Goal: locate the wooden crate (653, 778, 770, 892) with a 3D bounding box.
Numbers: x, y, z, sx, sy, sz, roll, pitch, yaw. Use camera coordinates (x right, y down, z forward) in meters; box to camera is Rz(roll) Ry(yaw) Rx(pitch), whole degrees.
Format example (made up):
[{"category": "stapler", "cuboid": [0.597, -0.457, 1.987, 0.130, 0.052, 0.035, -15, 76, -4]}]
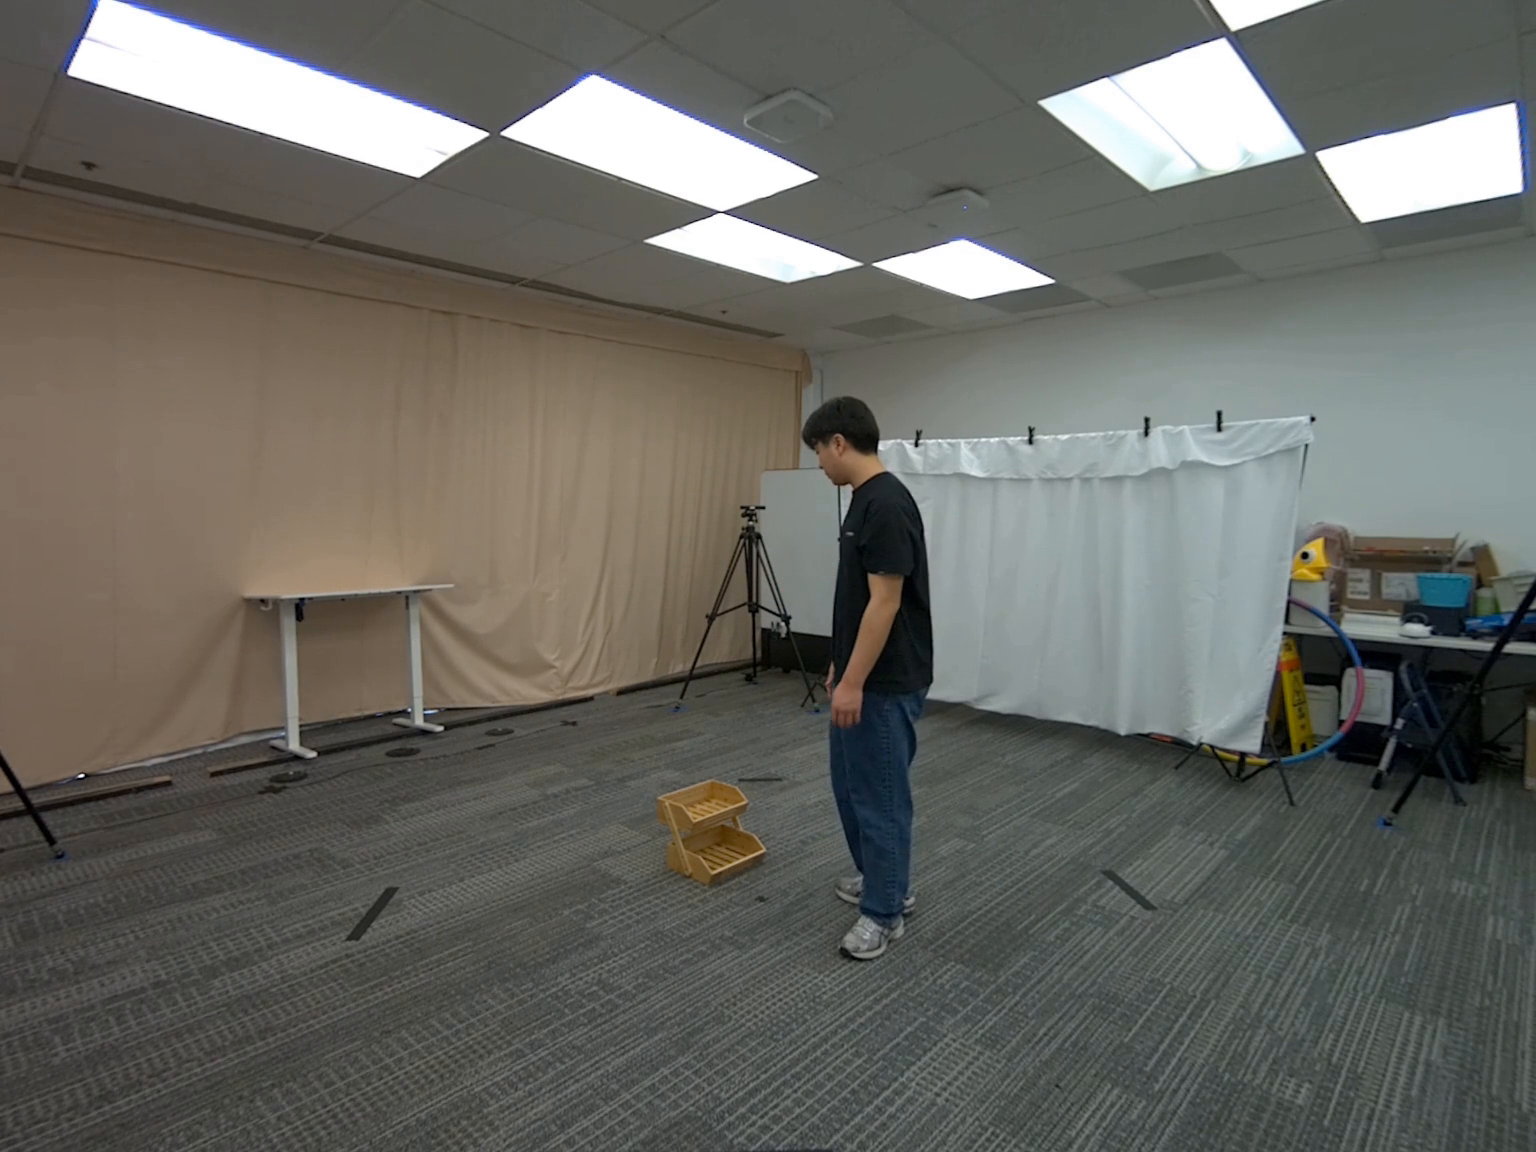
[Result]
[{"category": "wooden crate", "cuboid": [-0.219, 0.986, 3.279, 0.312, 0.273, 0.314, 3, 5, 43]}]
